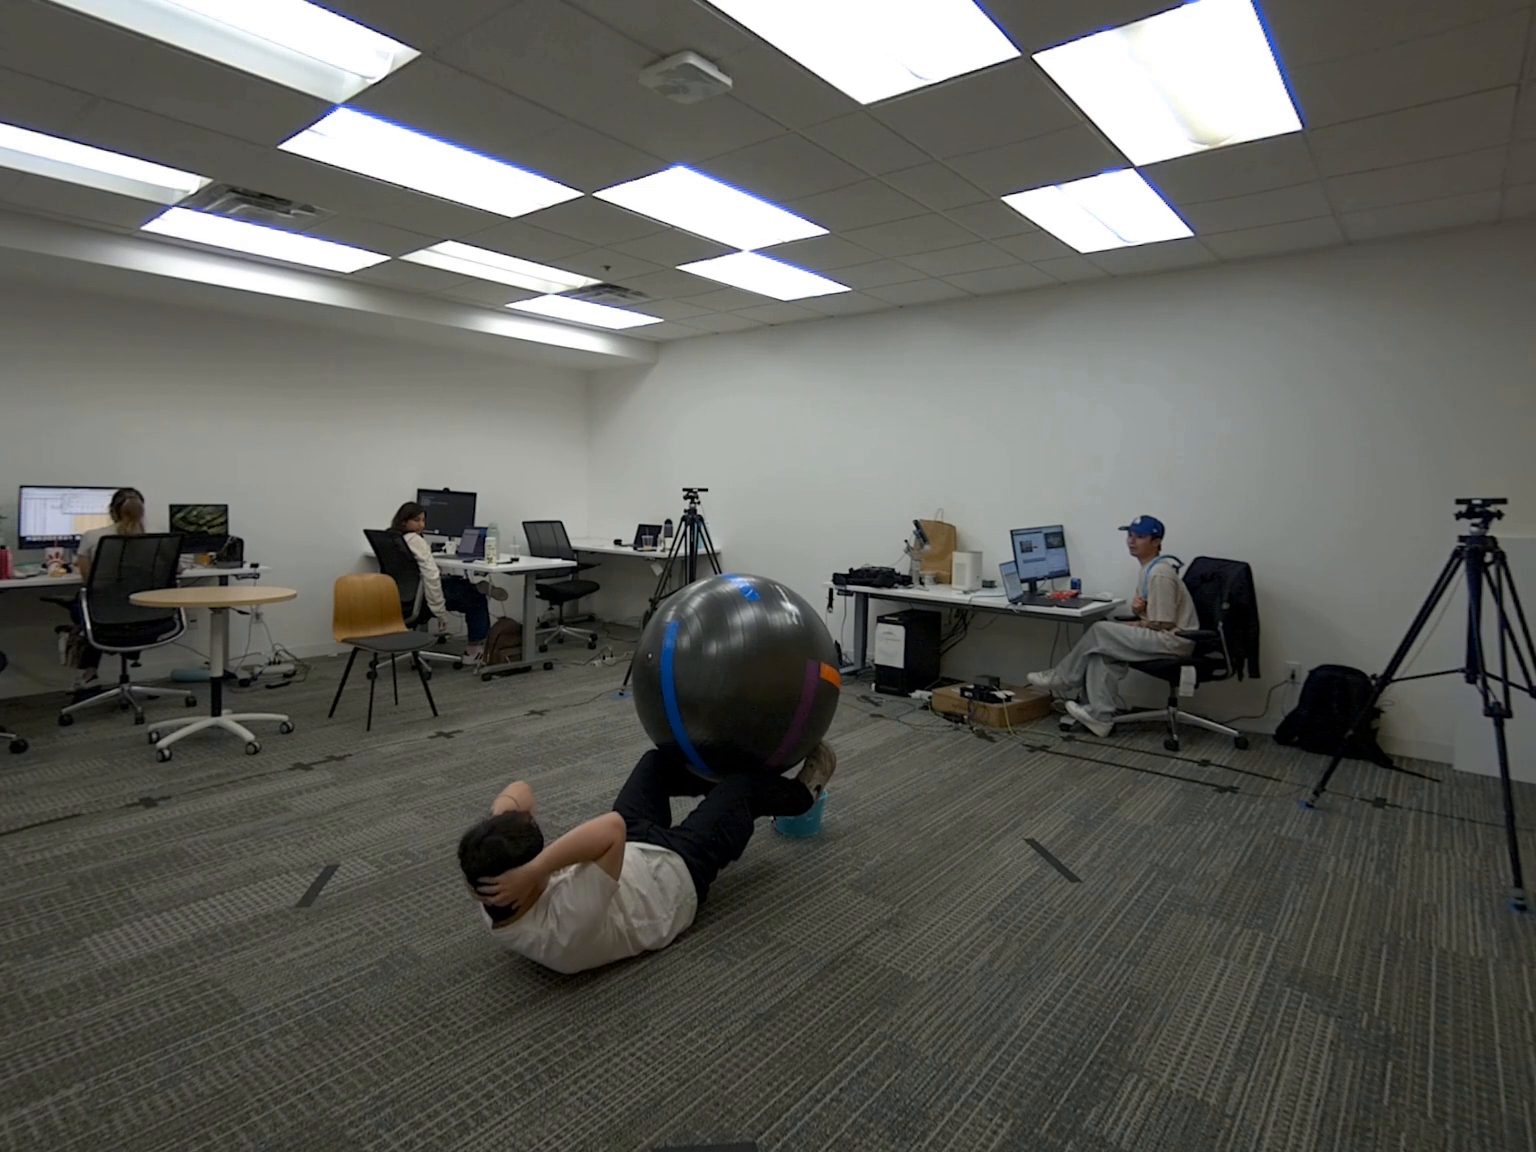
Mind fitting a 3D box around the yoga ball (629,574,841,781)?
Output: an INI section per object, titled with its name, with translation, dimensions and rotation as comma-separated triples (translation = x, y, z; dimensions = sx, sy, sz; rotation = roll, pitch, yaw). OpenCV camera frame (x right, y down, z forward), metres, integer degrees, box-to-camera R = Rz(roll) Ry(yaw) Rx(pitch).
[yoga ball]
translation = -0.126, 0.366, 3.110
dimensions = 0.757, 0.755, 0.762
rotation = 1, 4, -2
